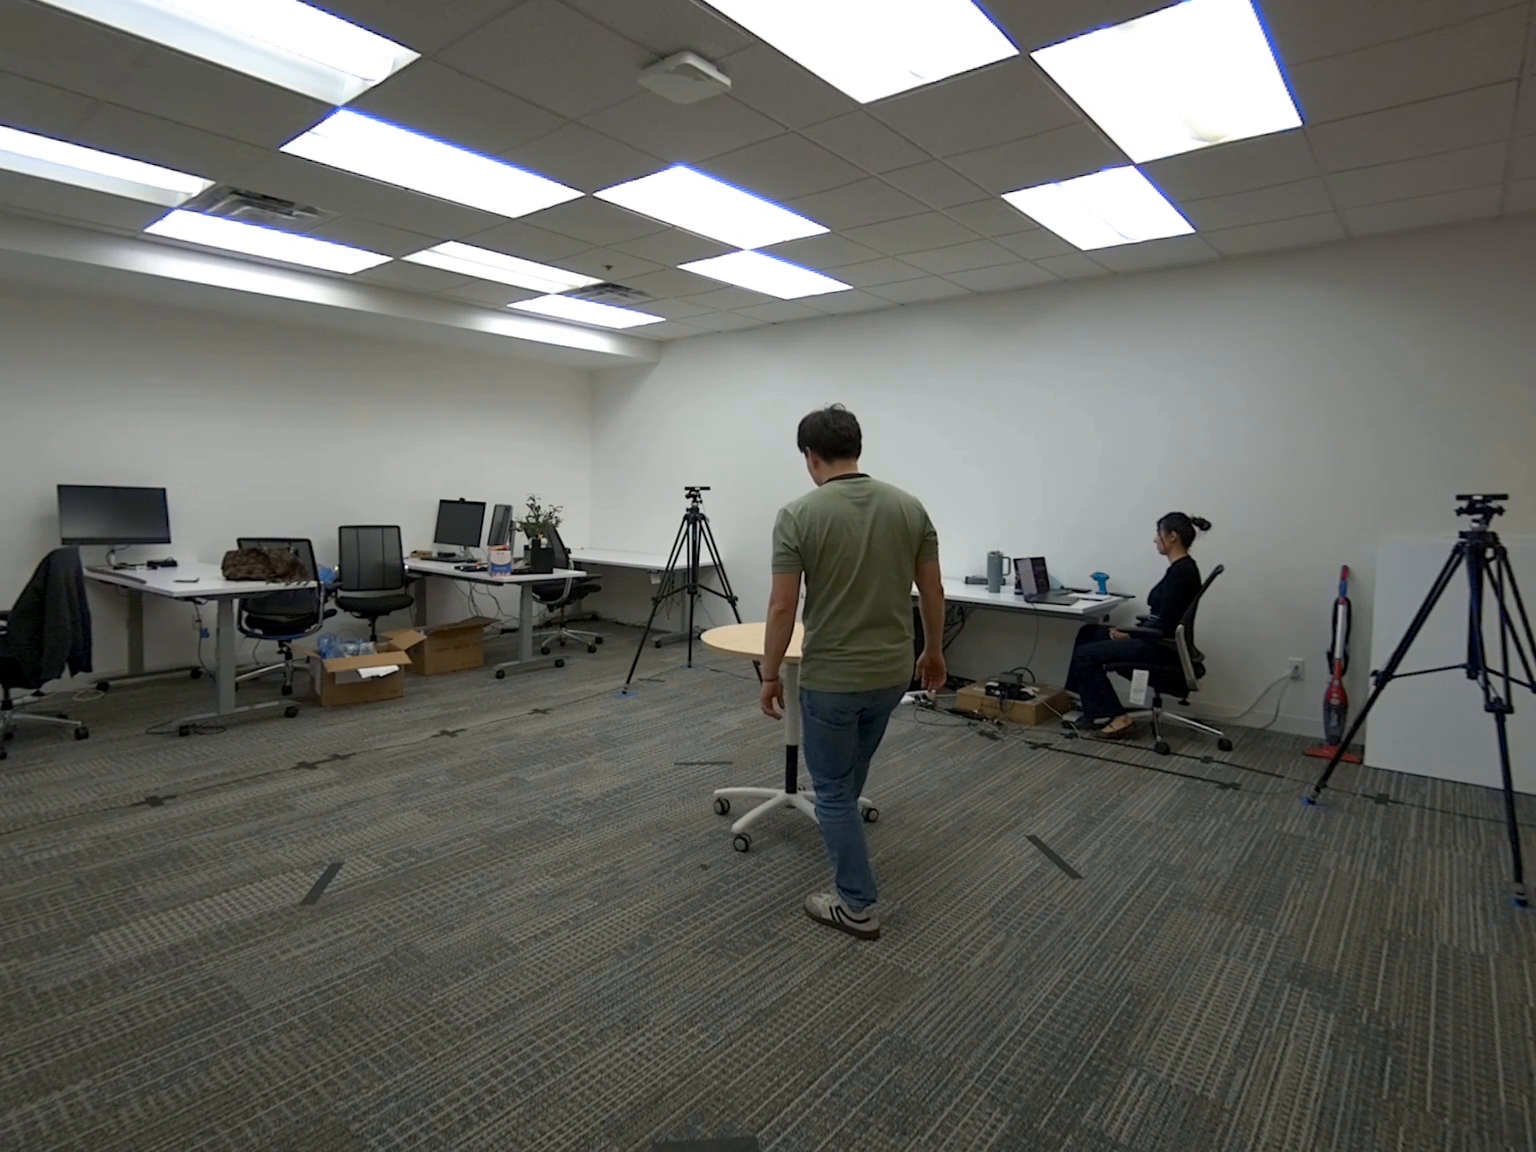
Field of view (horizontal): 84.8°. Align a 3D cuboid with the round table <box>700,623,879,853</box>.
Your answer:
[{"bbox_3d":[0.092,0.643,3.498,0.763,0.791,0.768,1,4,-2],"label":"round table"}]
